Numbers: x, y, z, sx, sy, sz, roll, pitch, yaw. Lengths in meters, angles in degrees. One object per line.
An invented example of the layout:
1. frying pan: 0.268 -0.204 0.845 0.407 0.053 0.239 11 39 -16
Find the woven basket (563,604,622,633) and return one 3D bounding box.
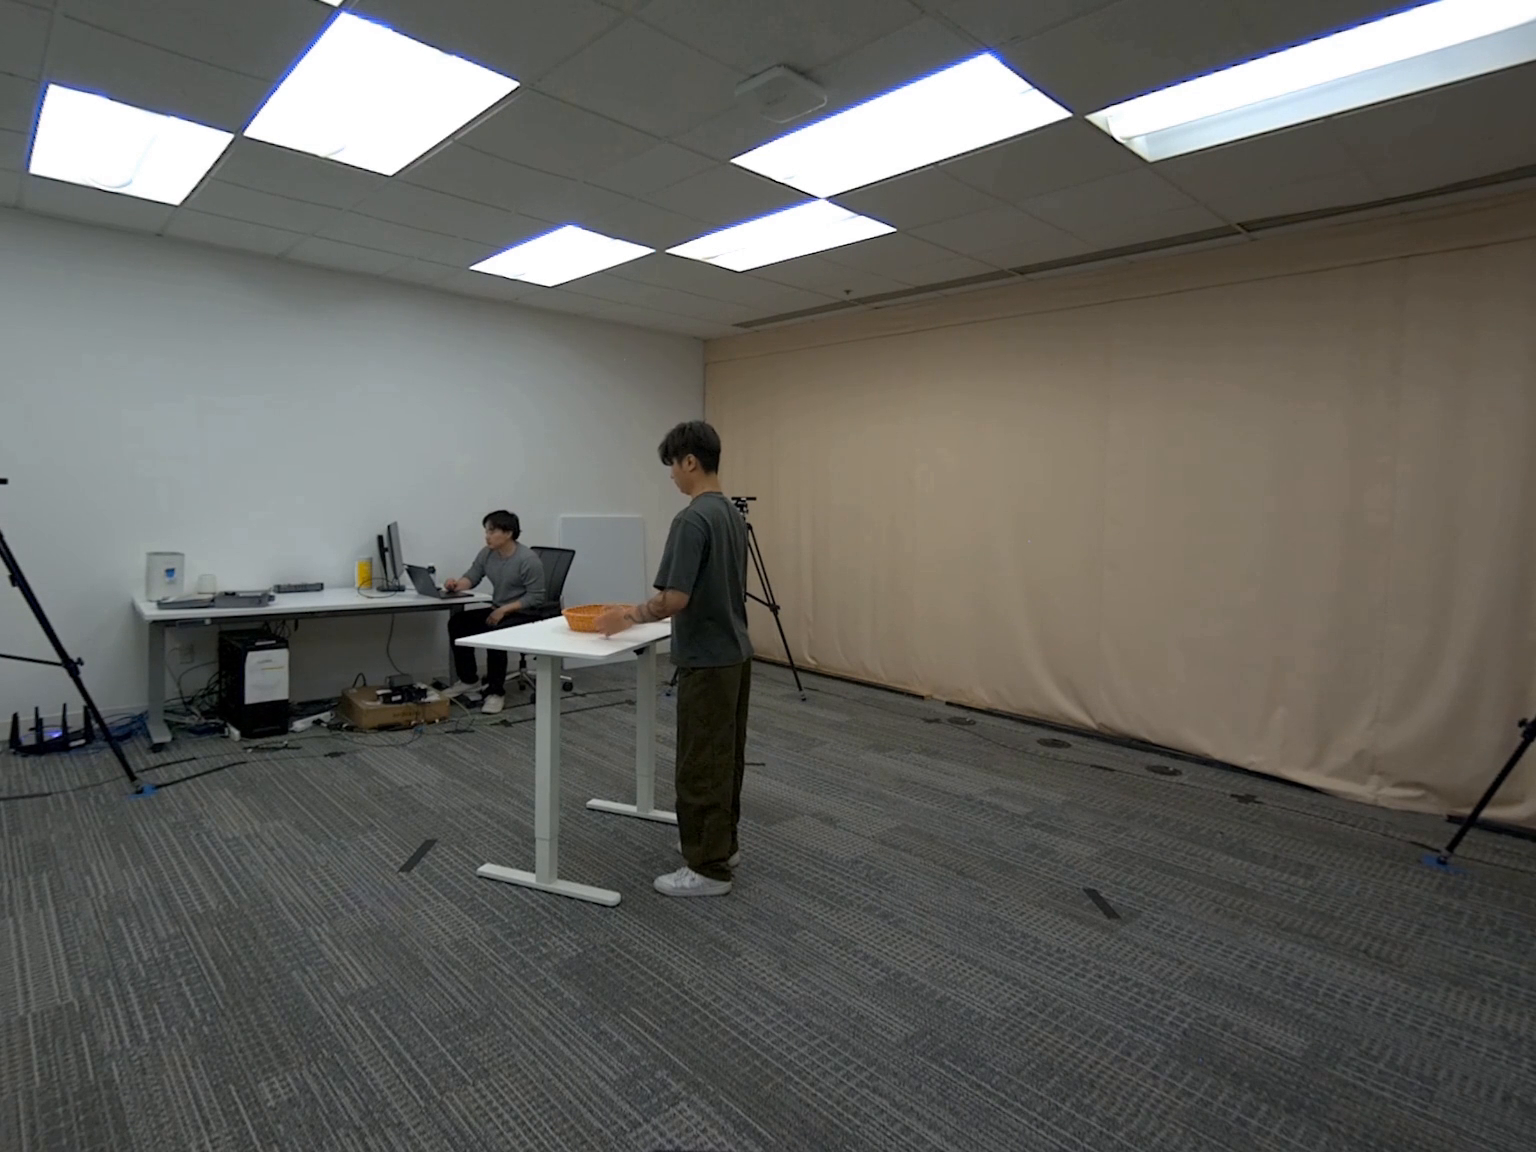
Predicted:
1. woven basket: -0.642 0.164 3.264 0.257 0.073 0.345 3 6 24
